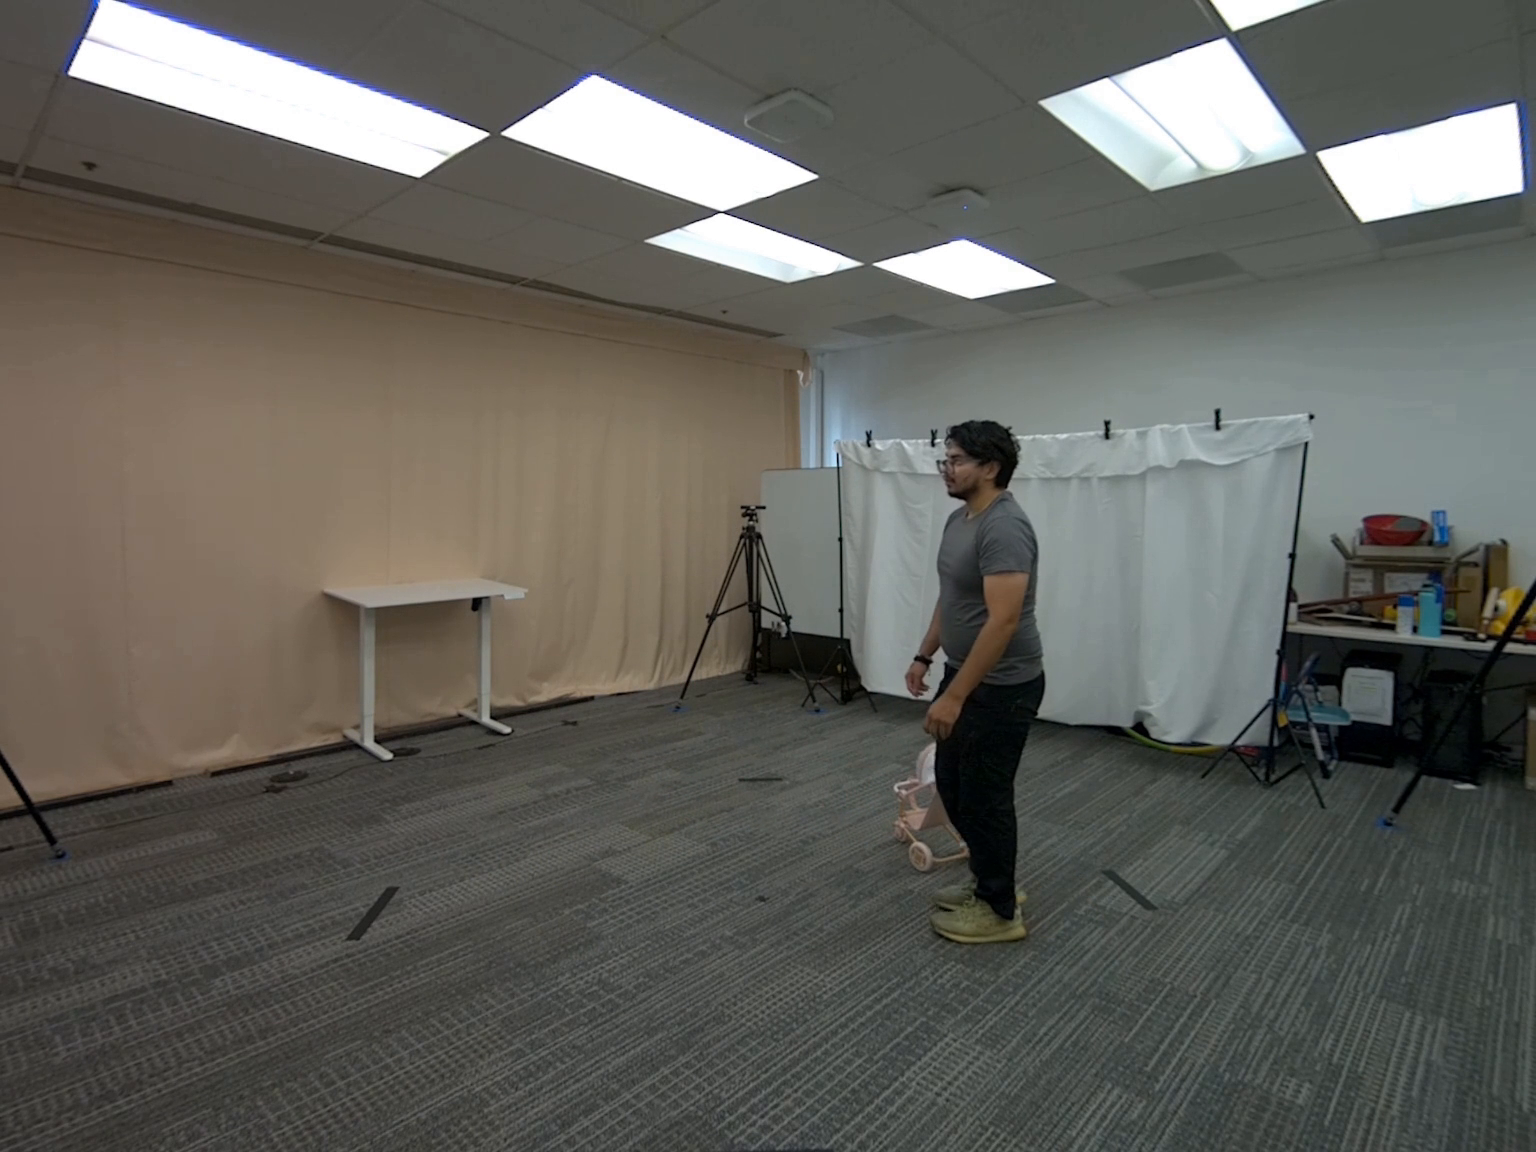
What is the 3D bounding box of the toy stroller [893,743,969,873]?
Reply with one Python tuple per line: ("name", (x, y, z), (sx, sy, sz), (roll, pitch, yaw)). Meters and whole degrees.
("toy stroller", (0.658, 0.887, 3.314), (0.274, 0.530, 0.353), (-2, 19, -28))
